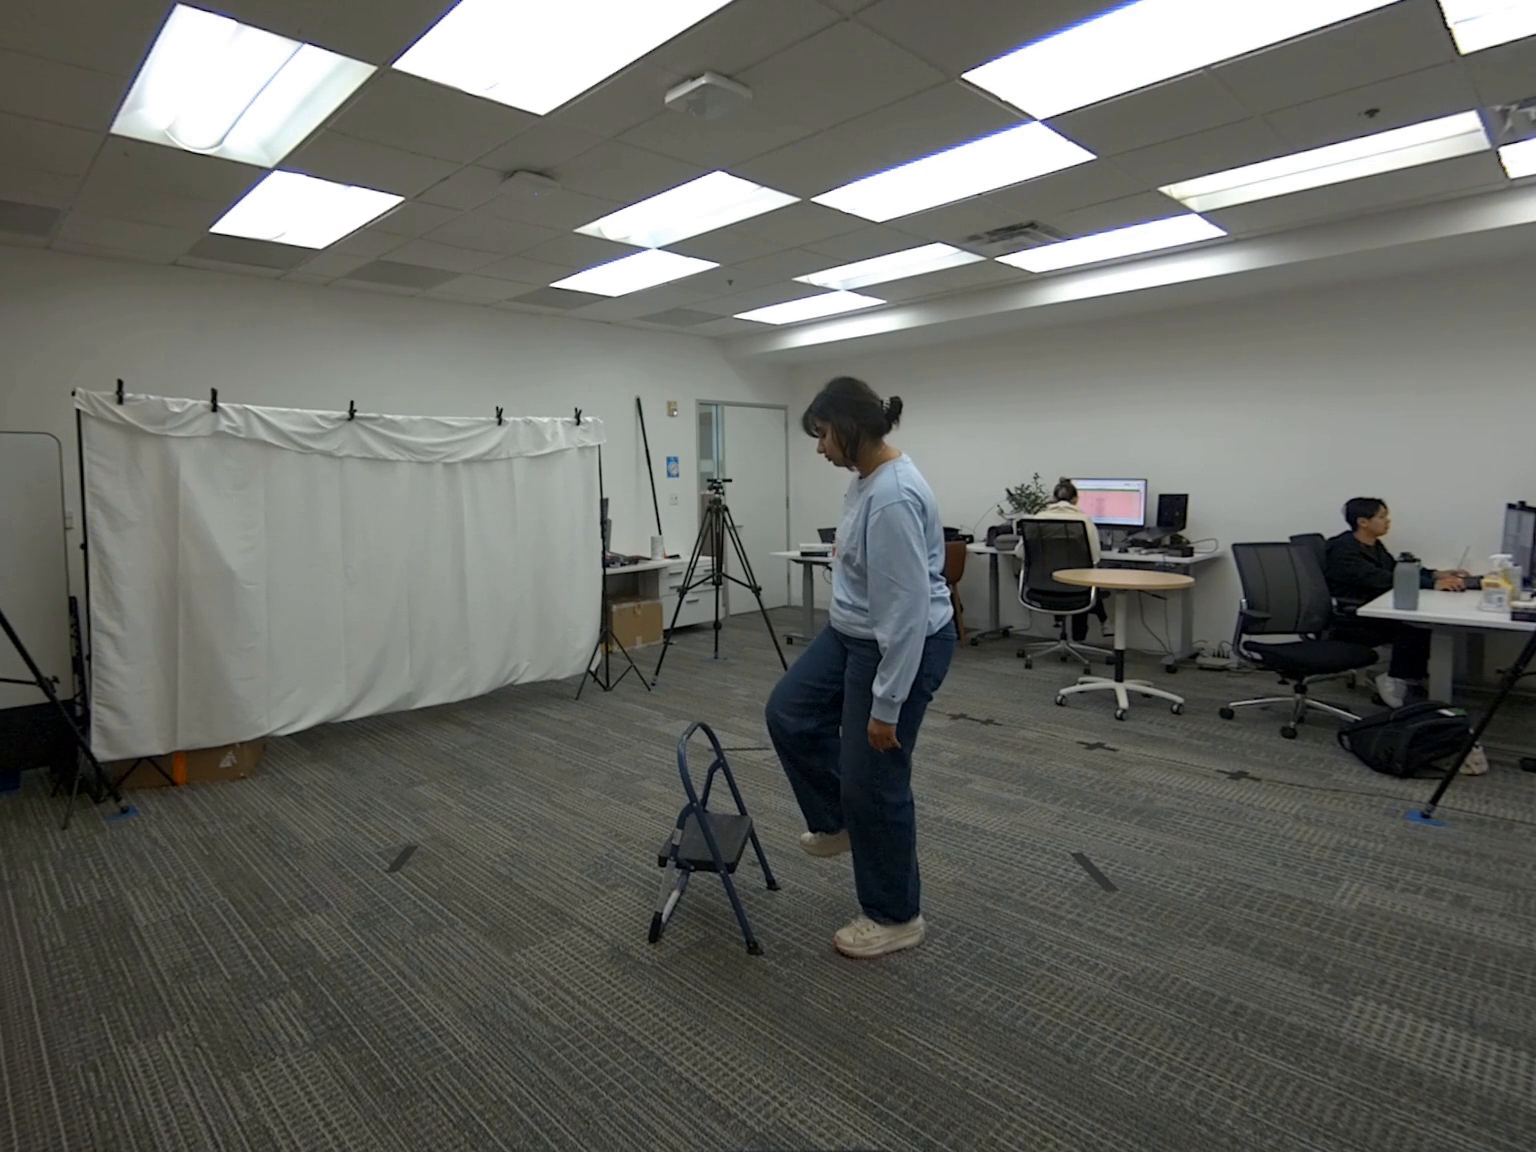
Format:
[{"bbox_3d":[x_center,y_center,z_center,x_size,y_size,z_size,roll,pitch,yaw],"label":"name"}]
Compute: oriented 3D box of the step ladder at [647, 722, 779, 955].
[{"bbox_3d":[-0.165,0.790,2.731,0.353,0.604,0.428,1,5,10],"label":"step ladder"}]
